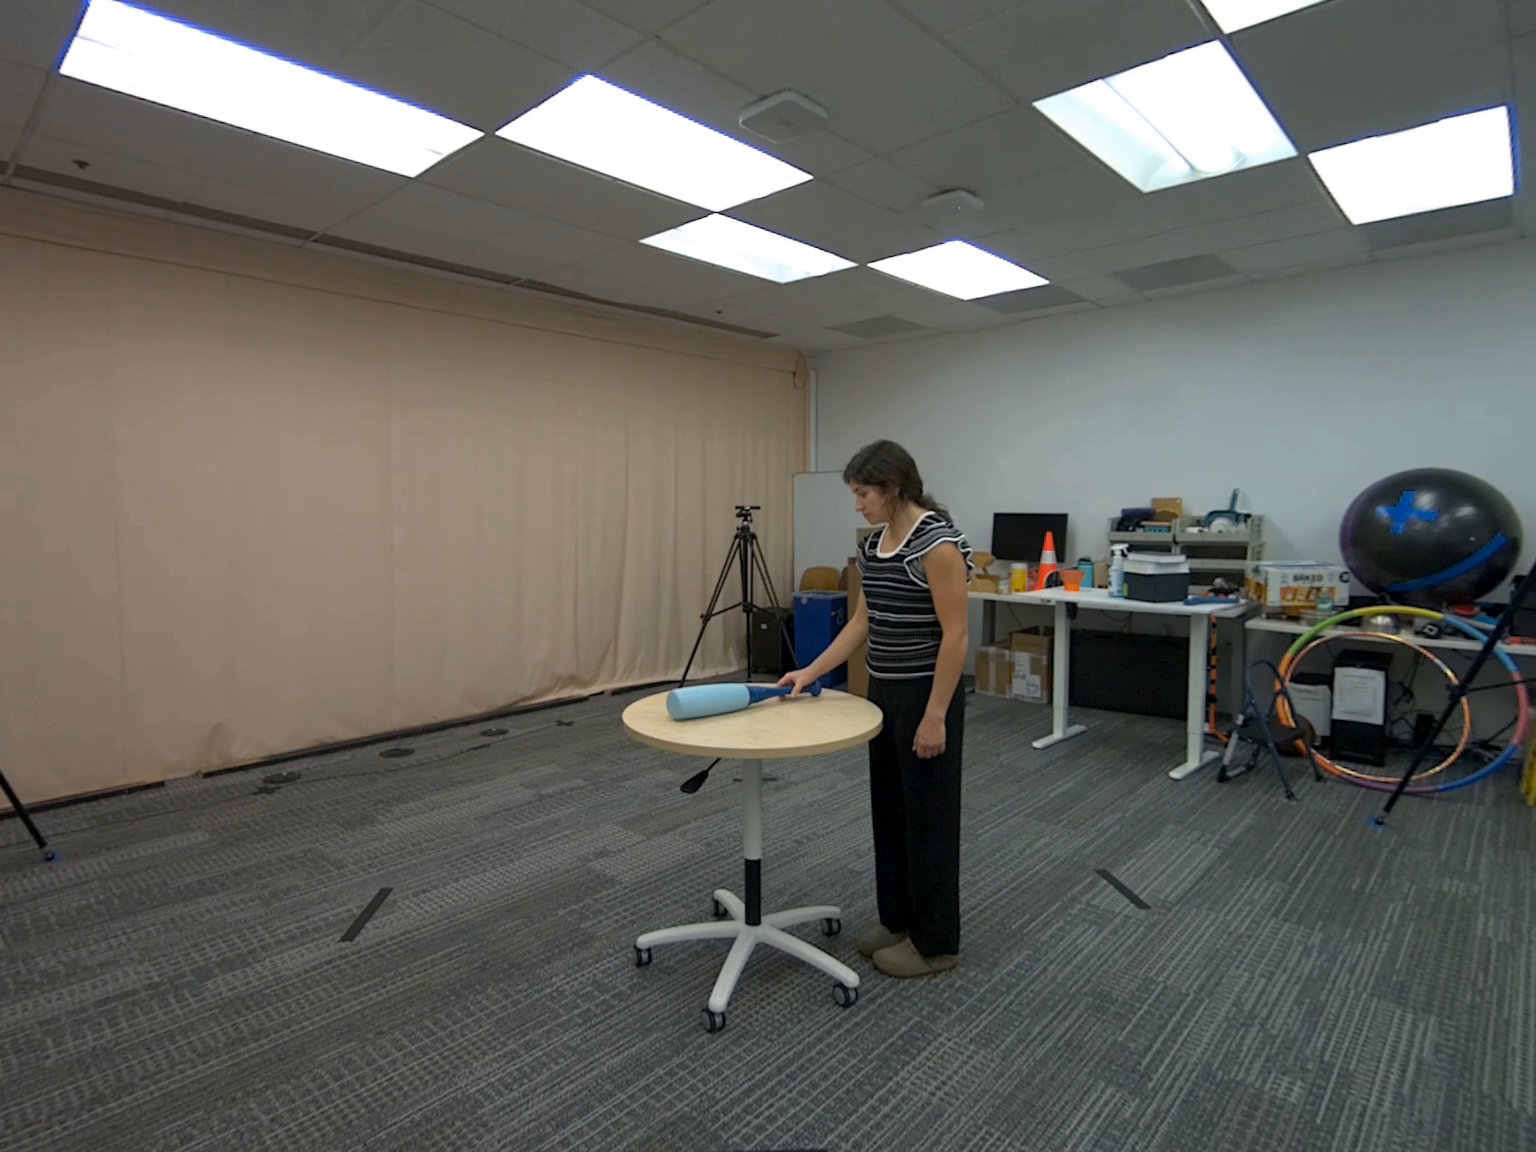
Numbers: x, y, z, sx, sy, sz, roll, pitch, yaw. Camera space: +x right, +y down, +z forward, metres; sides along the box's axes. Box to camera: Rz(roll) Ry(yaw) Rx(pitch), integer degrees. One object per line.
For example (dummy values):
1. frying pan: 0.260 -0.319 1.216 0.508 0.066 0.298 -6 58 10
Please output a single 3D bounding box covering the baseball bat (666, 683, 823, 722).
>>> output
1. baseball bat: -0.049 0.368 2.533 0.527 0.089 0.092 -1 4 -32
